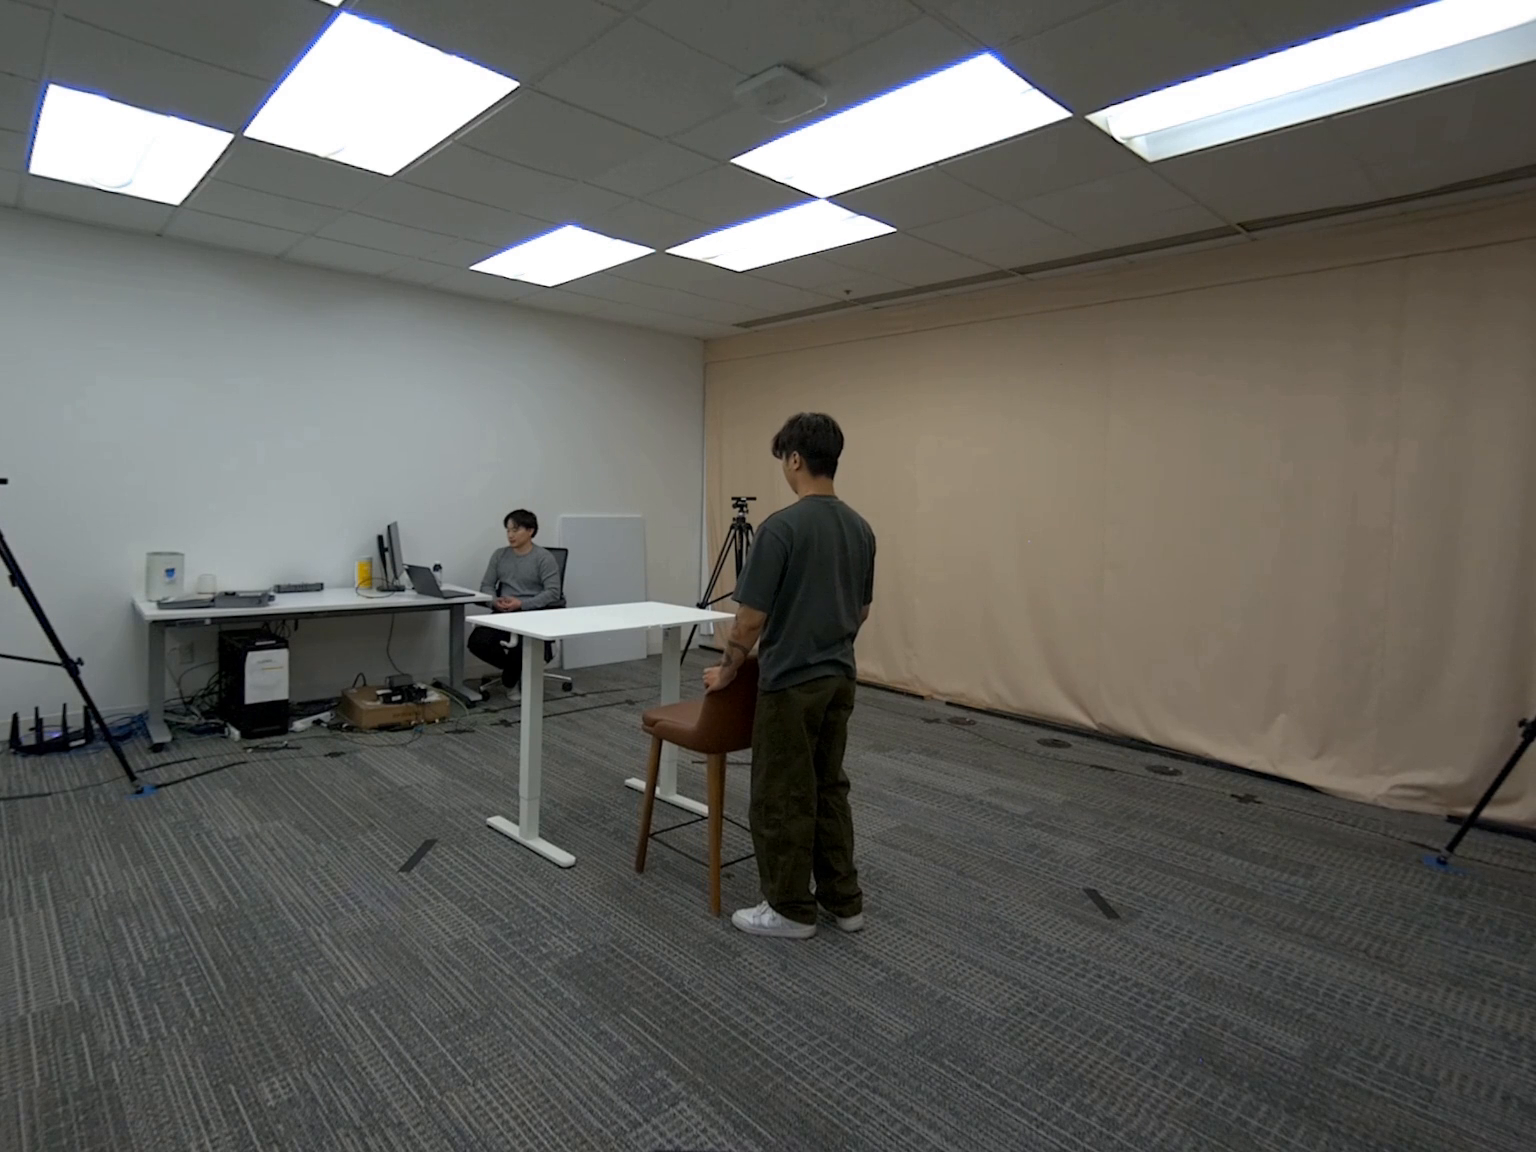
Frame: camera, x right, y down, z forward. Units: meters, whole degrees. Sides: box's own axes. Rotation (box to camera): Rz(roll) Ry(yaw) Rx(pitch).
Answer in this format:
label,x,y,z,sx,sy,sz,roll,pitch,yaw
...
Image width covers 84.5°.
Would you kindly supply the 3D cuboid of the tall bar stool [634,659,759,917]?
label,x,y,z,sx,sy,sz,roll,pitch,yaw
tall bar stool,-0.185,0.673,3.056,0.446,0.886,0.480,-2,7,-41
